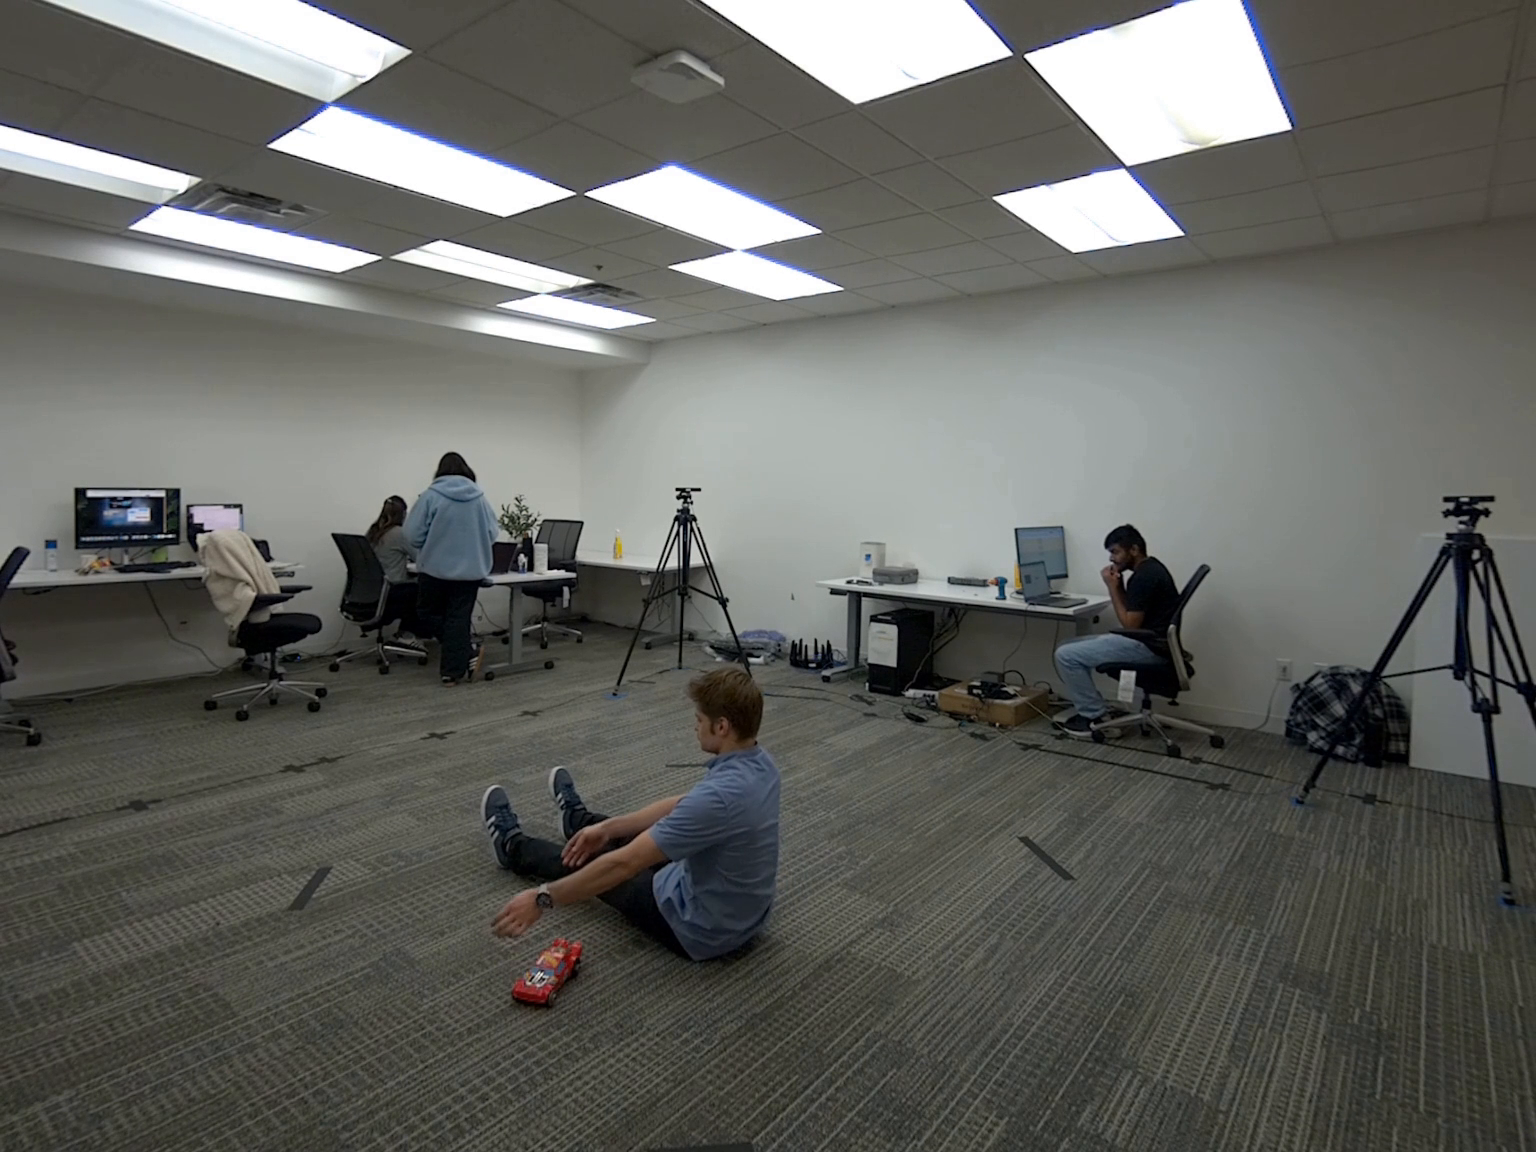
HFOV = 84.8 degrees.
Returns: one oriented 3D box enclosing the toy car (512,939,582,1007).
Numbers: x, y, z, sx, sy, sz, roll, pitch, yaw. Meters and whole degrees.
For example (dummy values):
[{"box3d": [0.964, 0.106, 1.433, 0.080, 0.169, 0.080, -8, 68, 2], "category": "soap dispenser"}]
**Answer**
[{"box3d": [-0.613, 1.102, 2.386, 0.132, 0.082, 0.254, 1, 18, 14], "category": "toy car"}]
